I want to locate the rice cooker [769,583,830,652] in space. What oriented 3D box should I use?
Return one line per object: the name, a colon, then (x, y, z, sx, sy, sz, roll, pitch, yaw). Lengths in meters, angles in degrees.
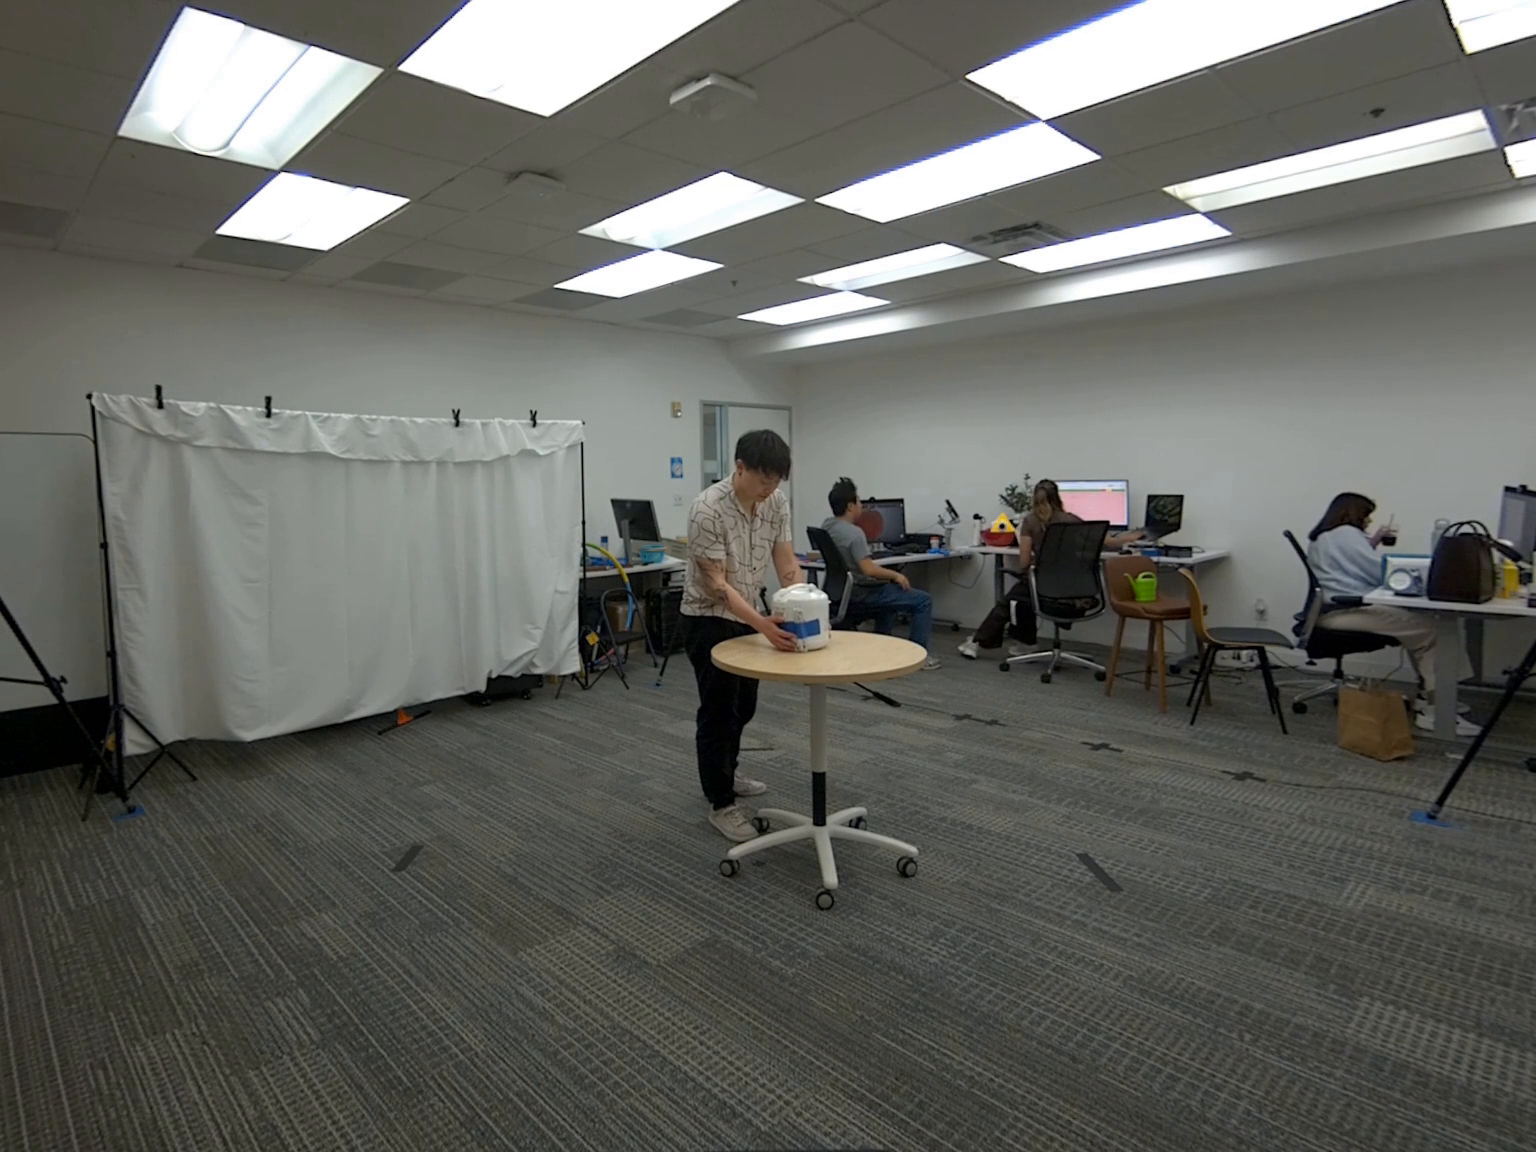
rice cooker: (0.117, 0.145, 3.119, 0.215, 0.232, 0.224, -5, 7, -39)
